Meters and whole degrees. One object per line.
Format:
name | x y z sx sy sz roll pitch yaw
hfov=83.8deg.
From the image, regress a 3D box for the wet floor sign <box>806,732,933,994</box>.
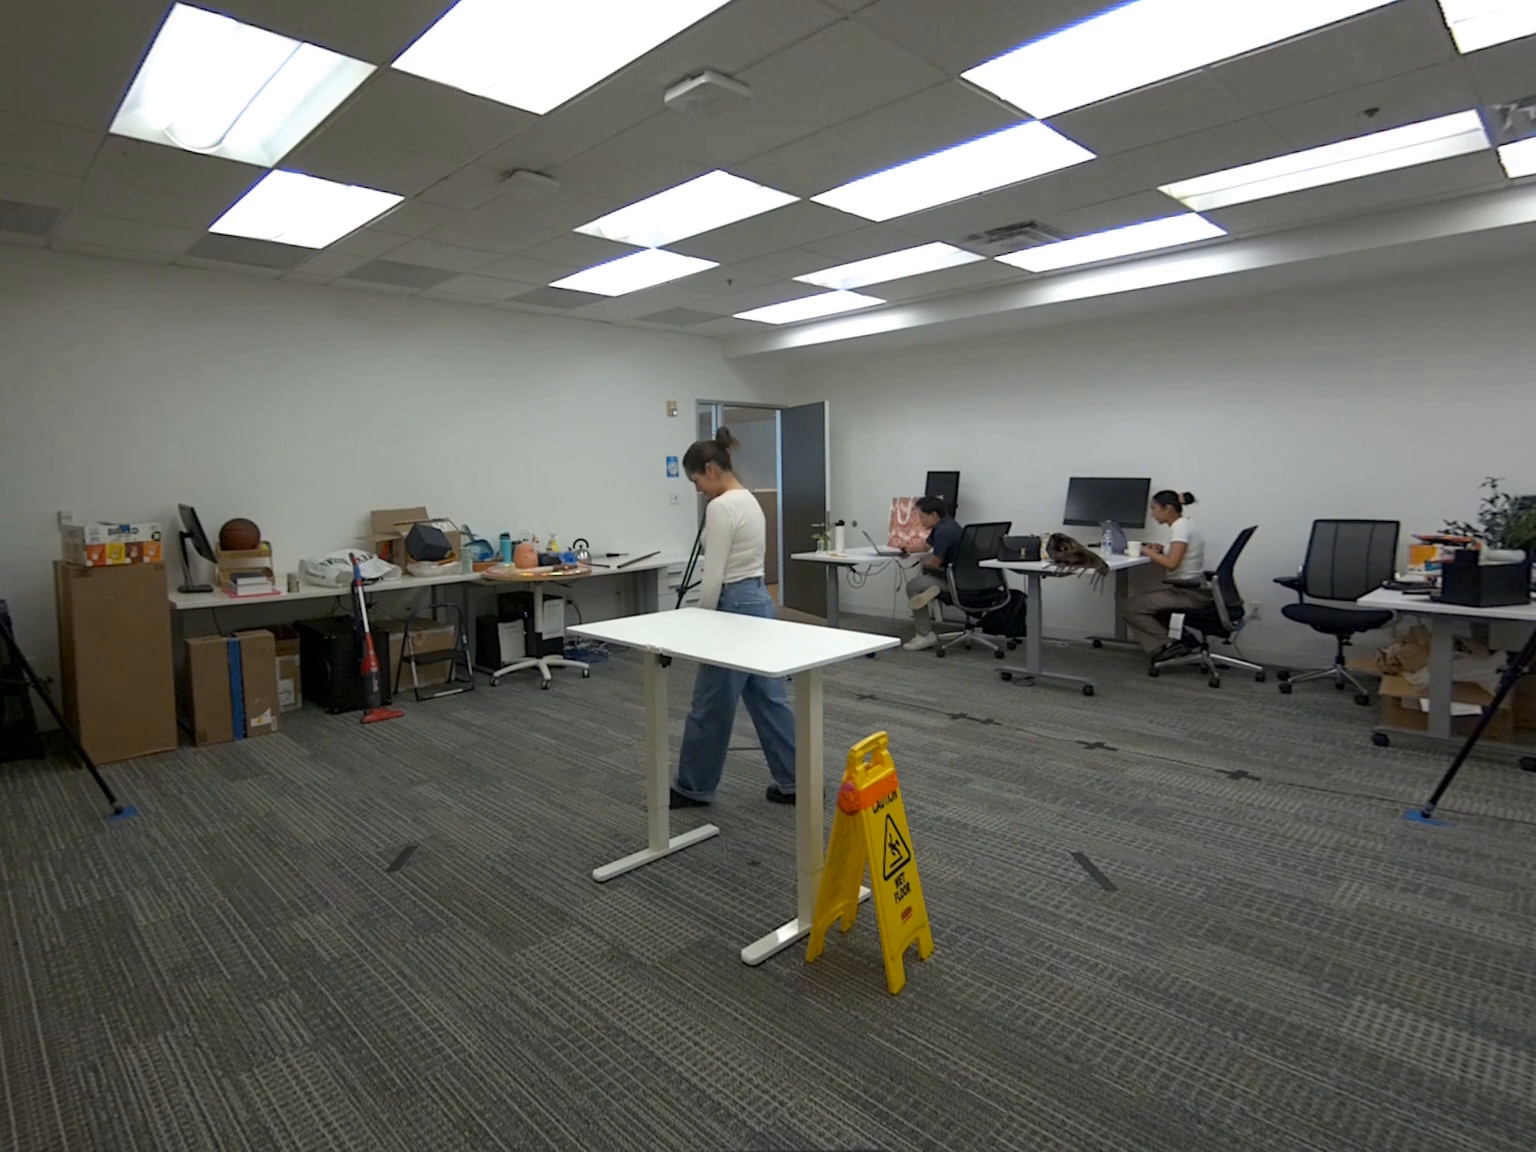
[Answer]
wet floor sign | 0.299 0.790 2.468 0.298 0.643 0.275 3 7 36
